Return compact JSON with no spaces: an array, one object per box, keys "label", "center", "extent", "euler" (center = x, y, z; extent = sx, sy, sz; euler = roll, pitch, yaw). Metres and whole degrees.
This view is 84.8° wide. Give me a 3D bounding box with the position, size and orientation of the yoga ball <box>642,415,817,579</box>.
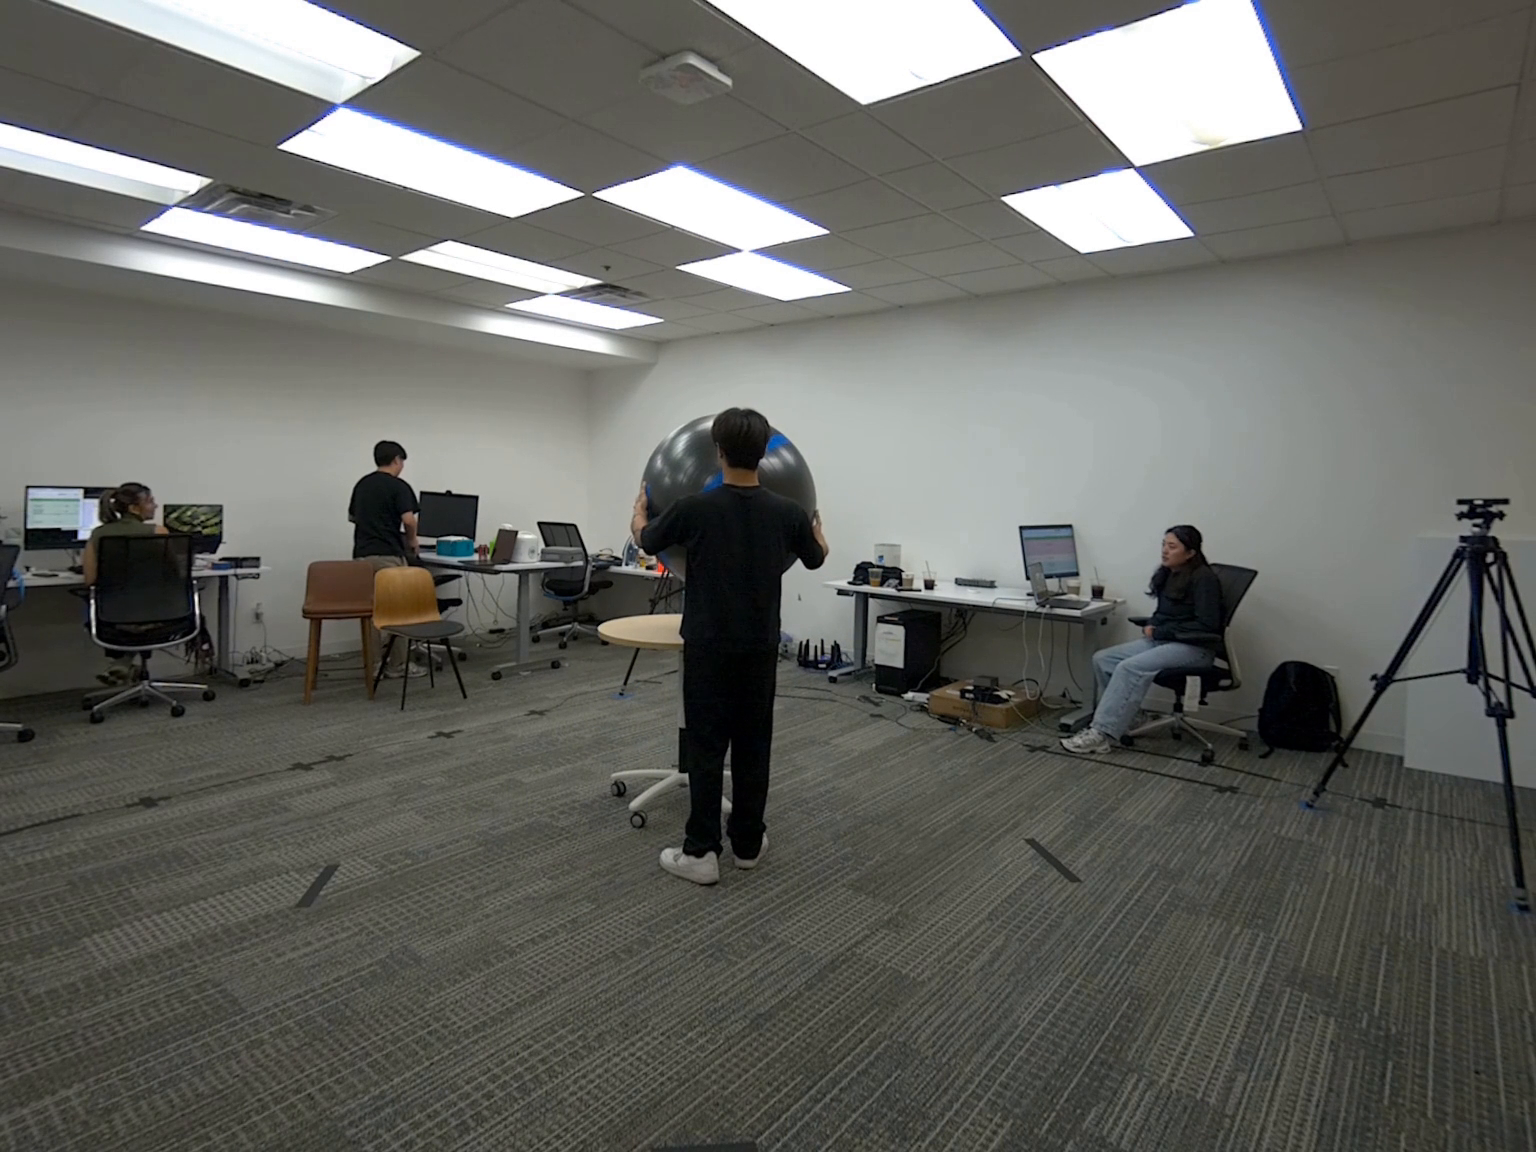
[{"label":"yoga ball","center":[-0.182,-0.306,3.628],"extent":[0.757,0.755,0.762],"euler":[1,4,-2]}]
